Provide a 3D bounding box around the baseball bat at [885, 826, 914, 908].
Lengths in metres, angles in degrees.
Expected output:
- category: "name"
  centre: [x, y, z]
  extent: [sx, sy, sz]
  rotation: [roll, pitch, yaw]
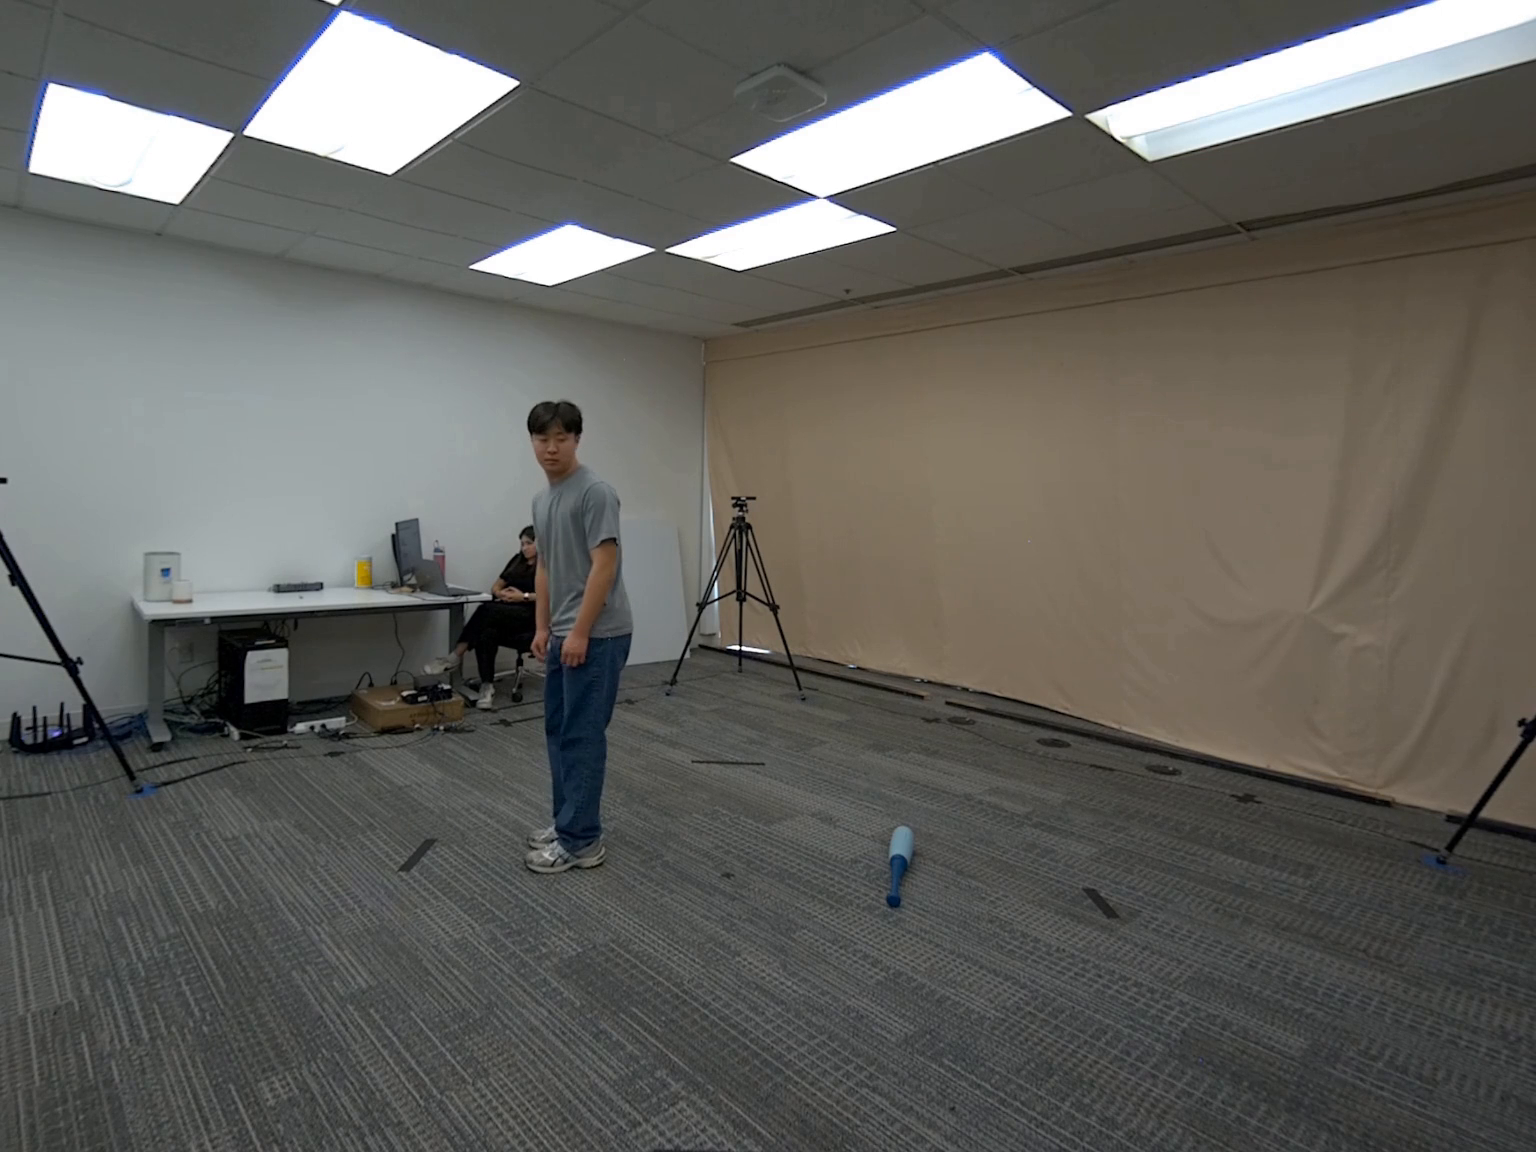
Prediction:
- category: "baseball bat"
  centre: [0.477, 1.076, 3.138]
  extent: [0.090, 0.088, 0.540]
  rotation: [2, 7, 11]
